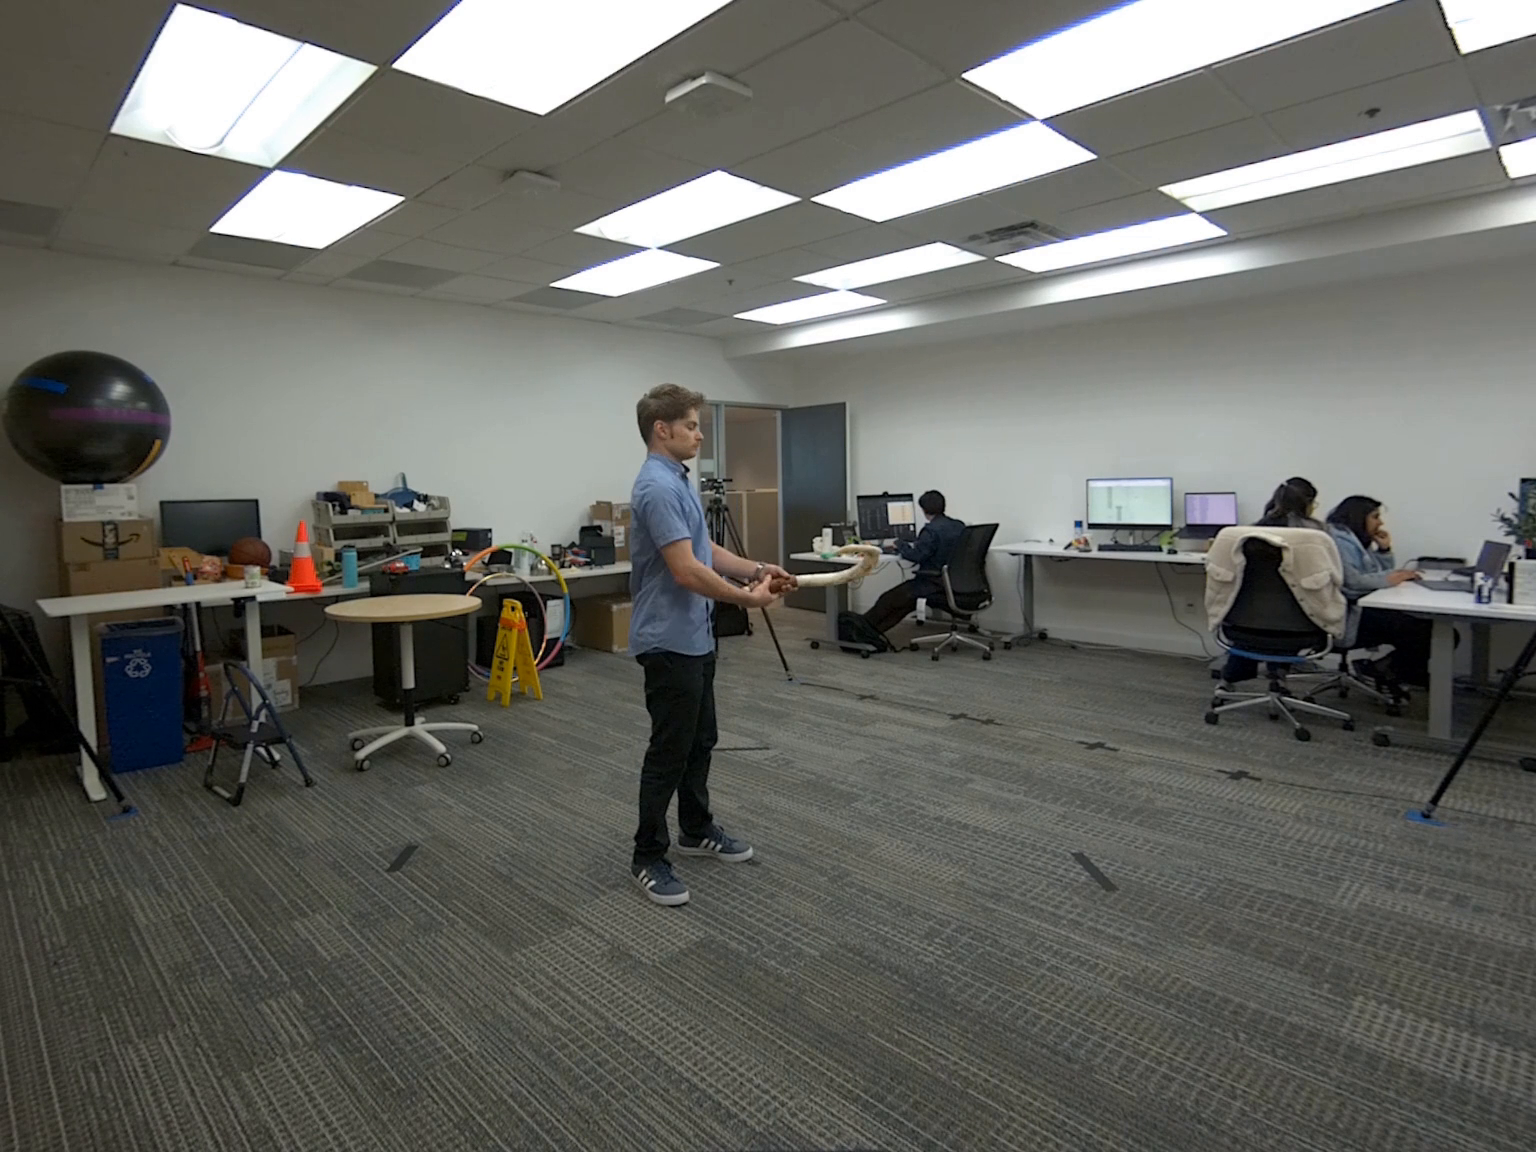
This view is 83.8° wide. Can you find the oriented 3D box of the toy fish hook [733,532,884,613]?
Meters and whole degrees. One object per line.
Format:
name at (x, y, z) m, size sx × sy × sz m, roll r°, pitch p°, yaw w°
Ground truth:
toy fish hook at (0.132, -0.014, 2.933) m, size 0.500 × 0.050 × 0.219 m, roll -11°, pitch -38°, yaw -16°
